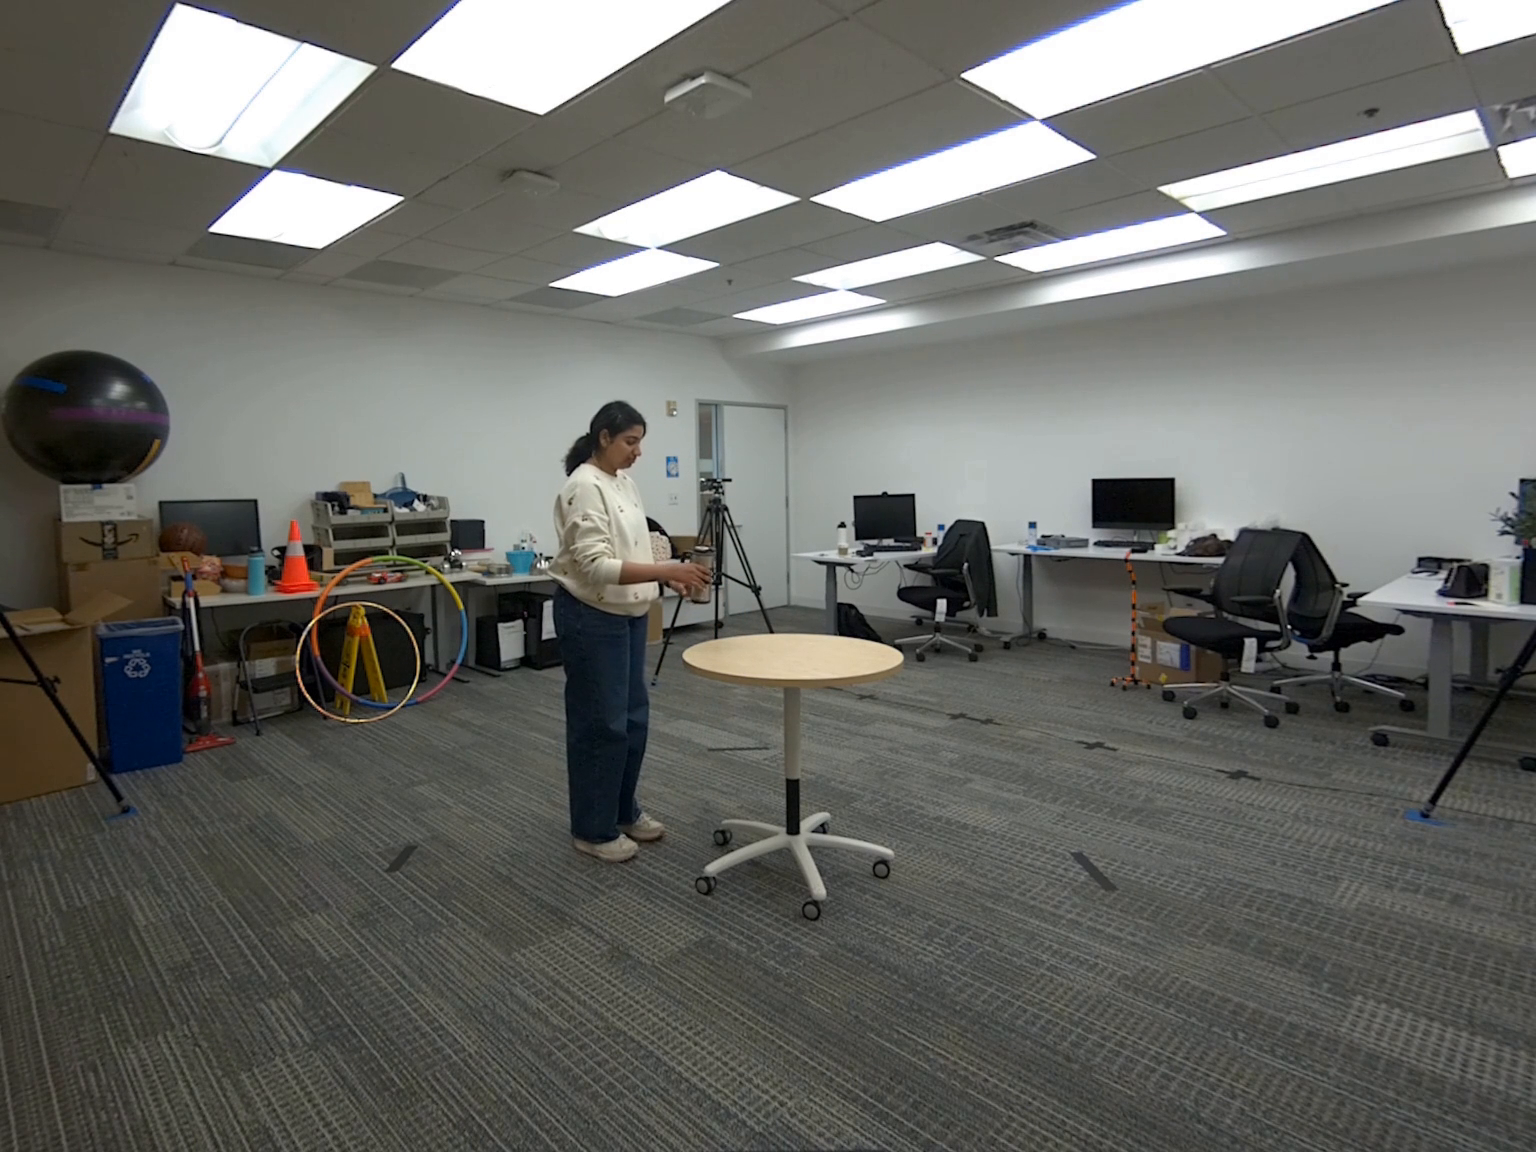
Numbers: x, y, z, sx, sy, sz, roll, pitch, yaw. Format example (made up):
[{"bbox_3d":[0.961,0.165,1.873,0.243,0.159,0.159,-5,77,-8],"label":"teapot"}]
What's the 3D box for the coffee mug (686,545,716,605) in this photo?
[{"bbox_3d":[-0.251,-0.004,3.087,0.126,0.201,0.085,15,14,40],"label":"coffee mug"}]
